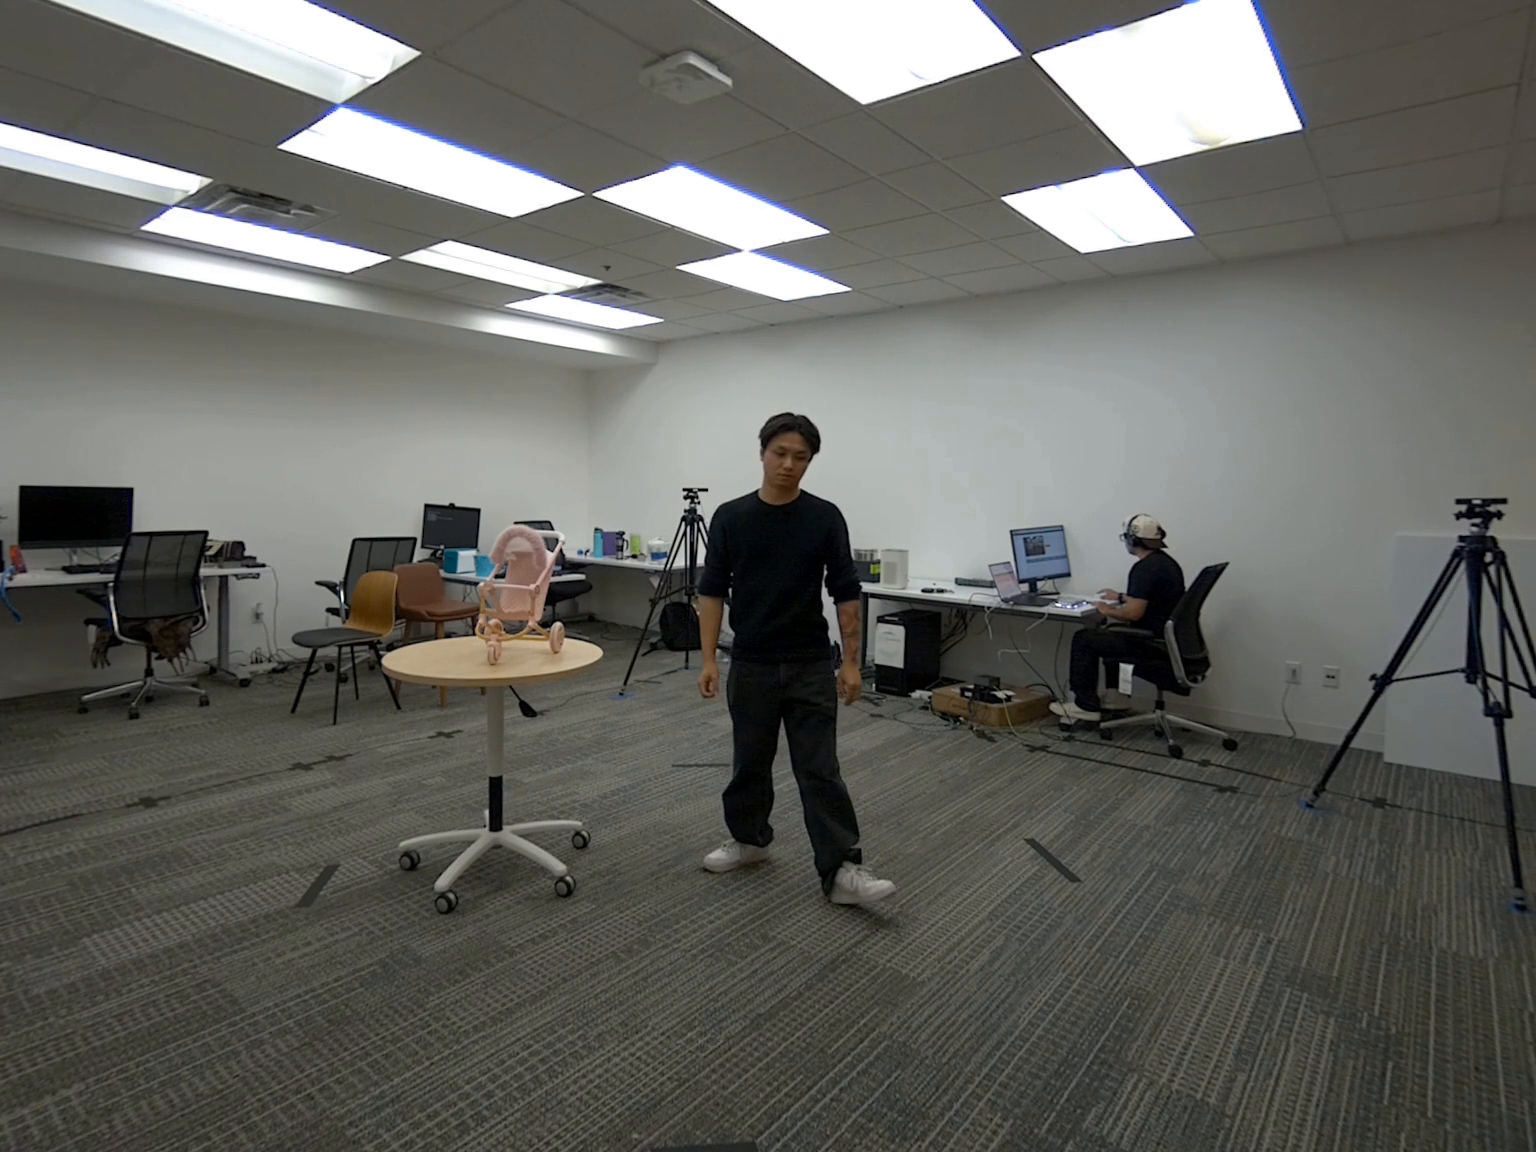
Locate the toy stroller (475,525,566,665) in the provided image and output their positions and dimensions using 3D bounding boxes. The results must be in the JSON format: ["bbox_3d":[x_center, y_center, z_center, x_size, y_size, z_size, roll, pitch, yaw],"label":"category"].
[{"bbox_3d":[-0.918,0.057,3.053,0.285,0.541,0.333,2,-12,12],"label":"toy stroller"}]
